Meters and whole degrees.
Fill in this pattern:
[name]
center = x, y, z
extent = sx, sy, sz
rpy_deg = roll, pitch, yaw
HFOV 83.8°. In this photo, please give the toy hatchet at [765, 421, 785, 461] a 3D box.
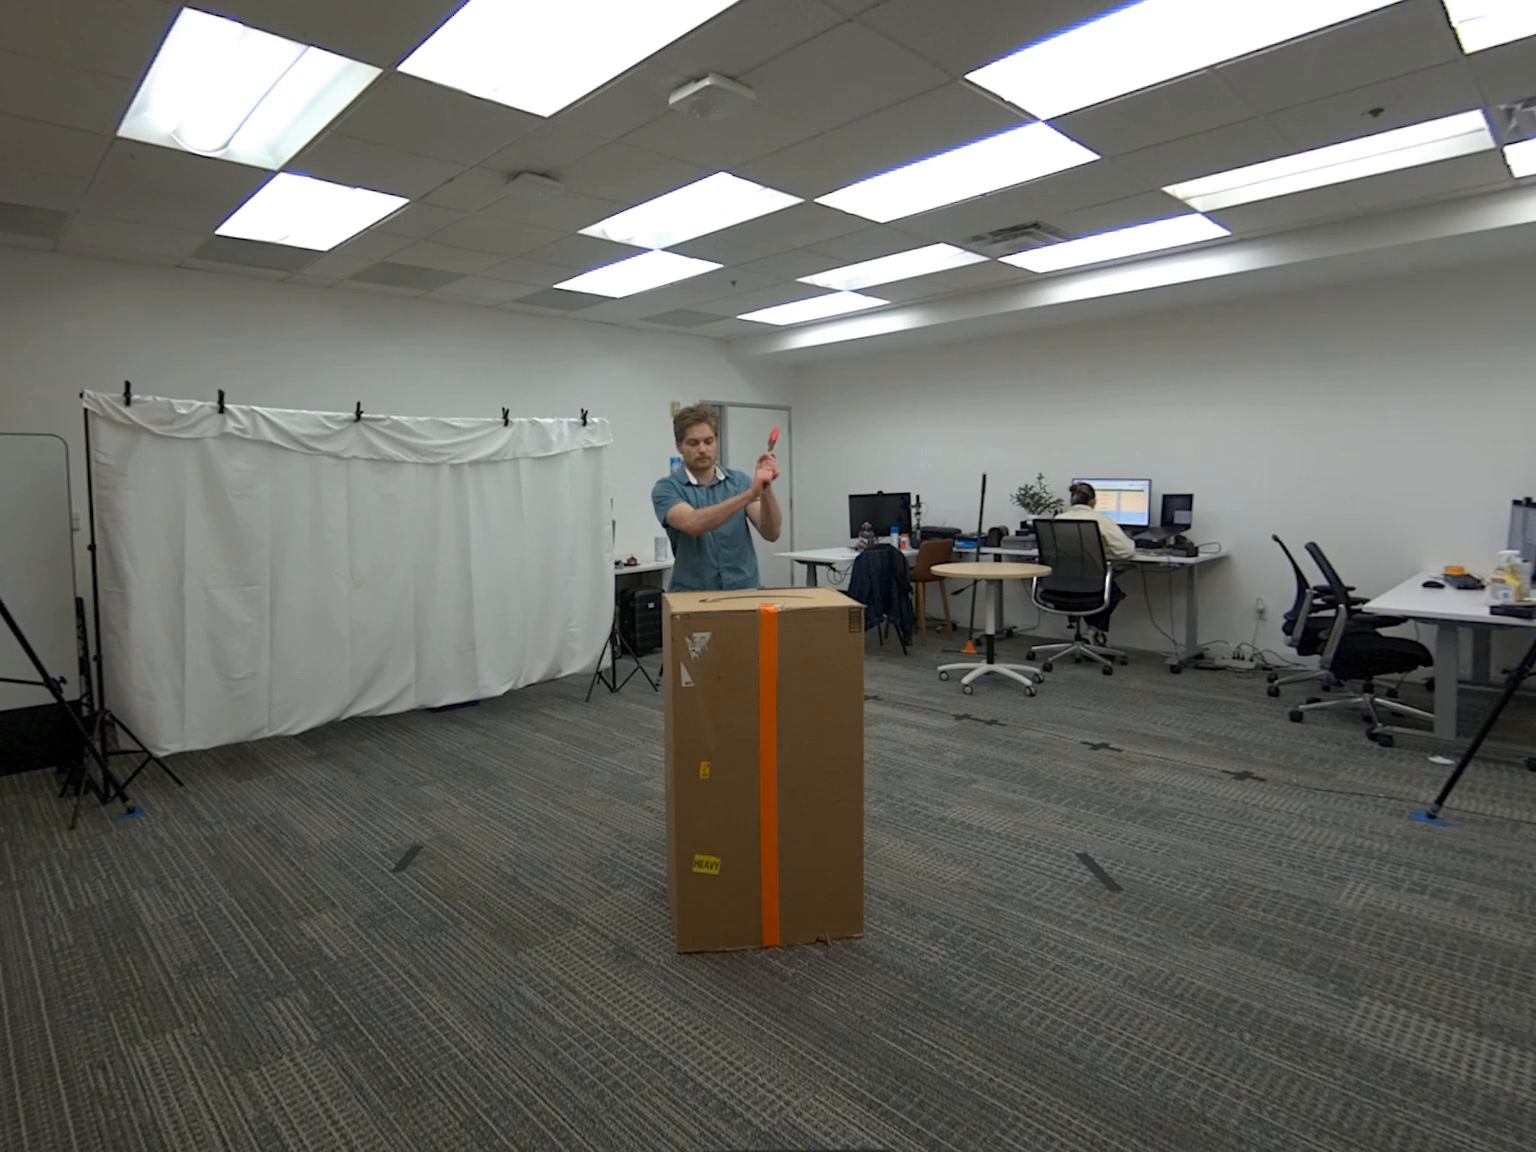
[toy hatchet]
center = 0.012, -0.449, 3.219
extent = 0.029, 0.276, 0.129
rpy_deg = 18, -44, -8
